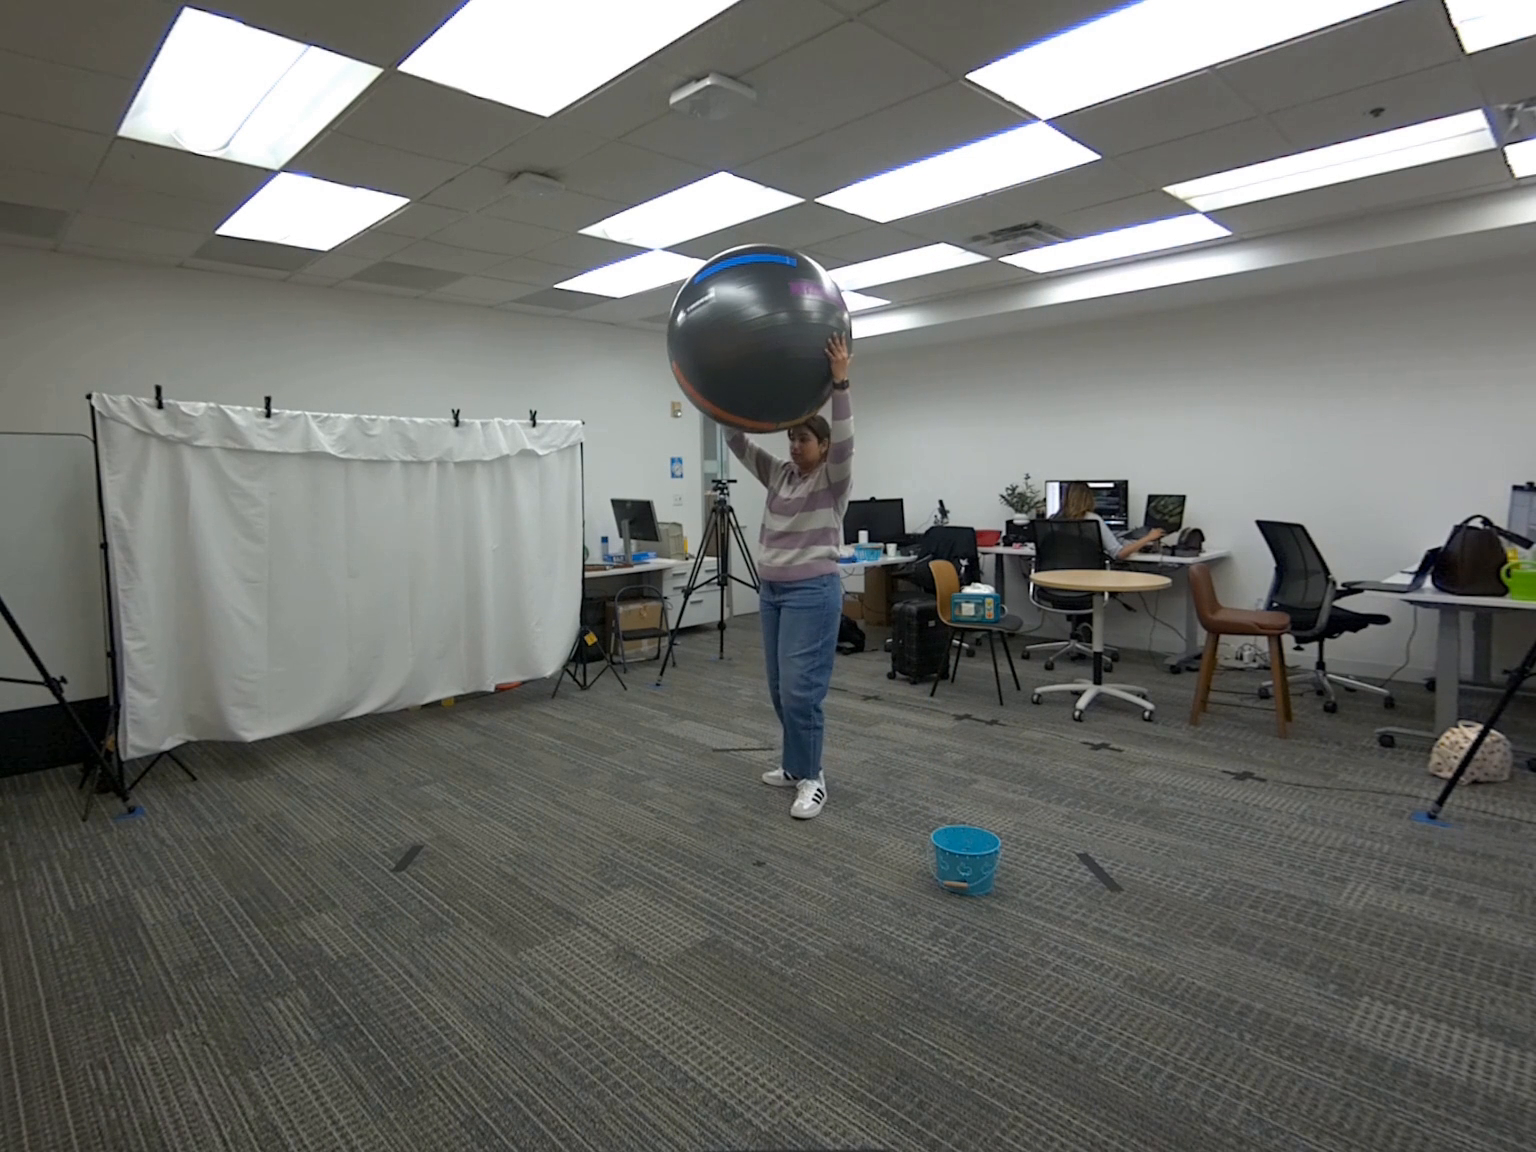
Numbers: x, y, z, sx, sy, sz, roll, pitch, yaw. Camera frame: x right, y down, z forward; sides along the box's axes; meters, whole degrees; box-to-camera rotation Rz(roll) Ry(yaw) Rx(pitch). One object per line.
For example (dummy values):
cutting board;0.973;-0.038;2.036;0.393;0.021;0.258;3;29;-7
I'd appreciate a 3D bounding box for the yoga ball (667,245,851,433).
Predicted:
yoga ball;-0.036;-0.964;3.515;0.757;0.755;0.762;-1;5;-2
